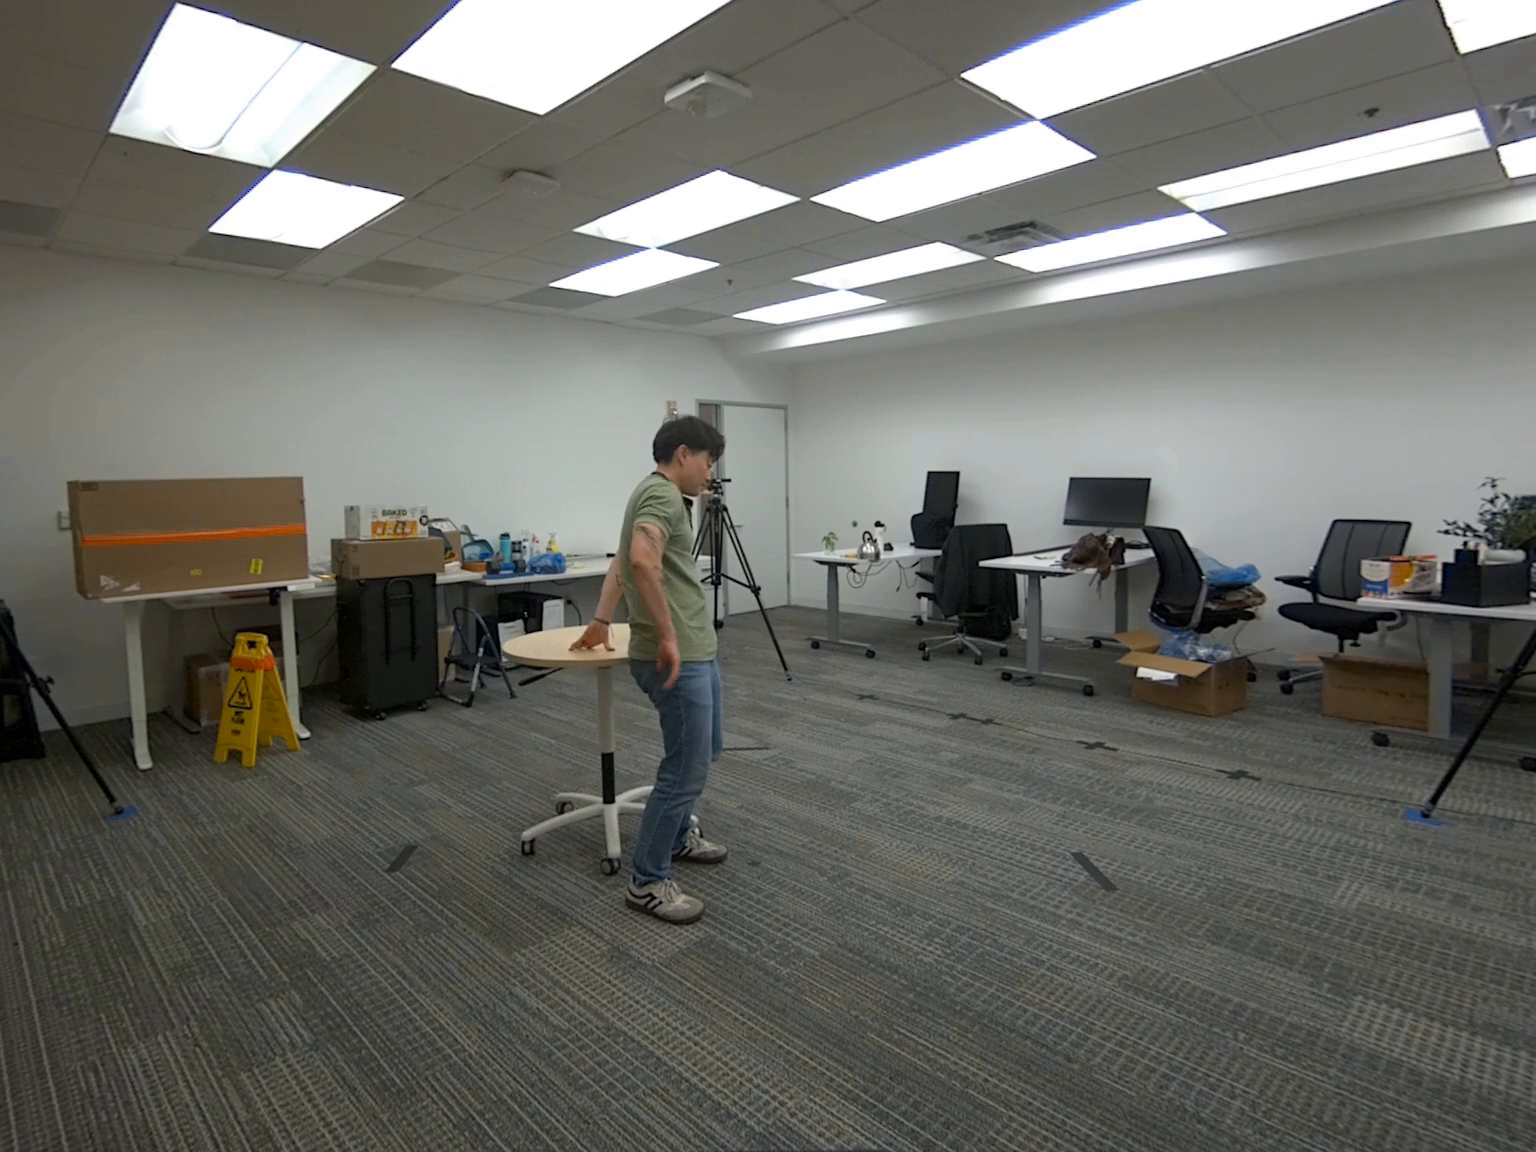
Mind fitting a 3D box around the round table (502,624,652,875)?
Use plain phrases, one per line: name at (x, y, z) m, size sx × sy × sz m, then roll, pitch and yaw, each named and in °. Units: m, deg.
round table at (-0.629, 0.640, 3.337) m, size 0.763 × 0.791 × 0.767 m, roll -2°, pitch 4°, yaw -2°
